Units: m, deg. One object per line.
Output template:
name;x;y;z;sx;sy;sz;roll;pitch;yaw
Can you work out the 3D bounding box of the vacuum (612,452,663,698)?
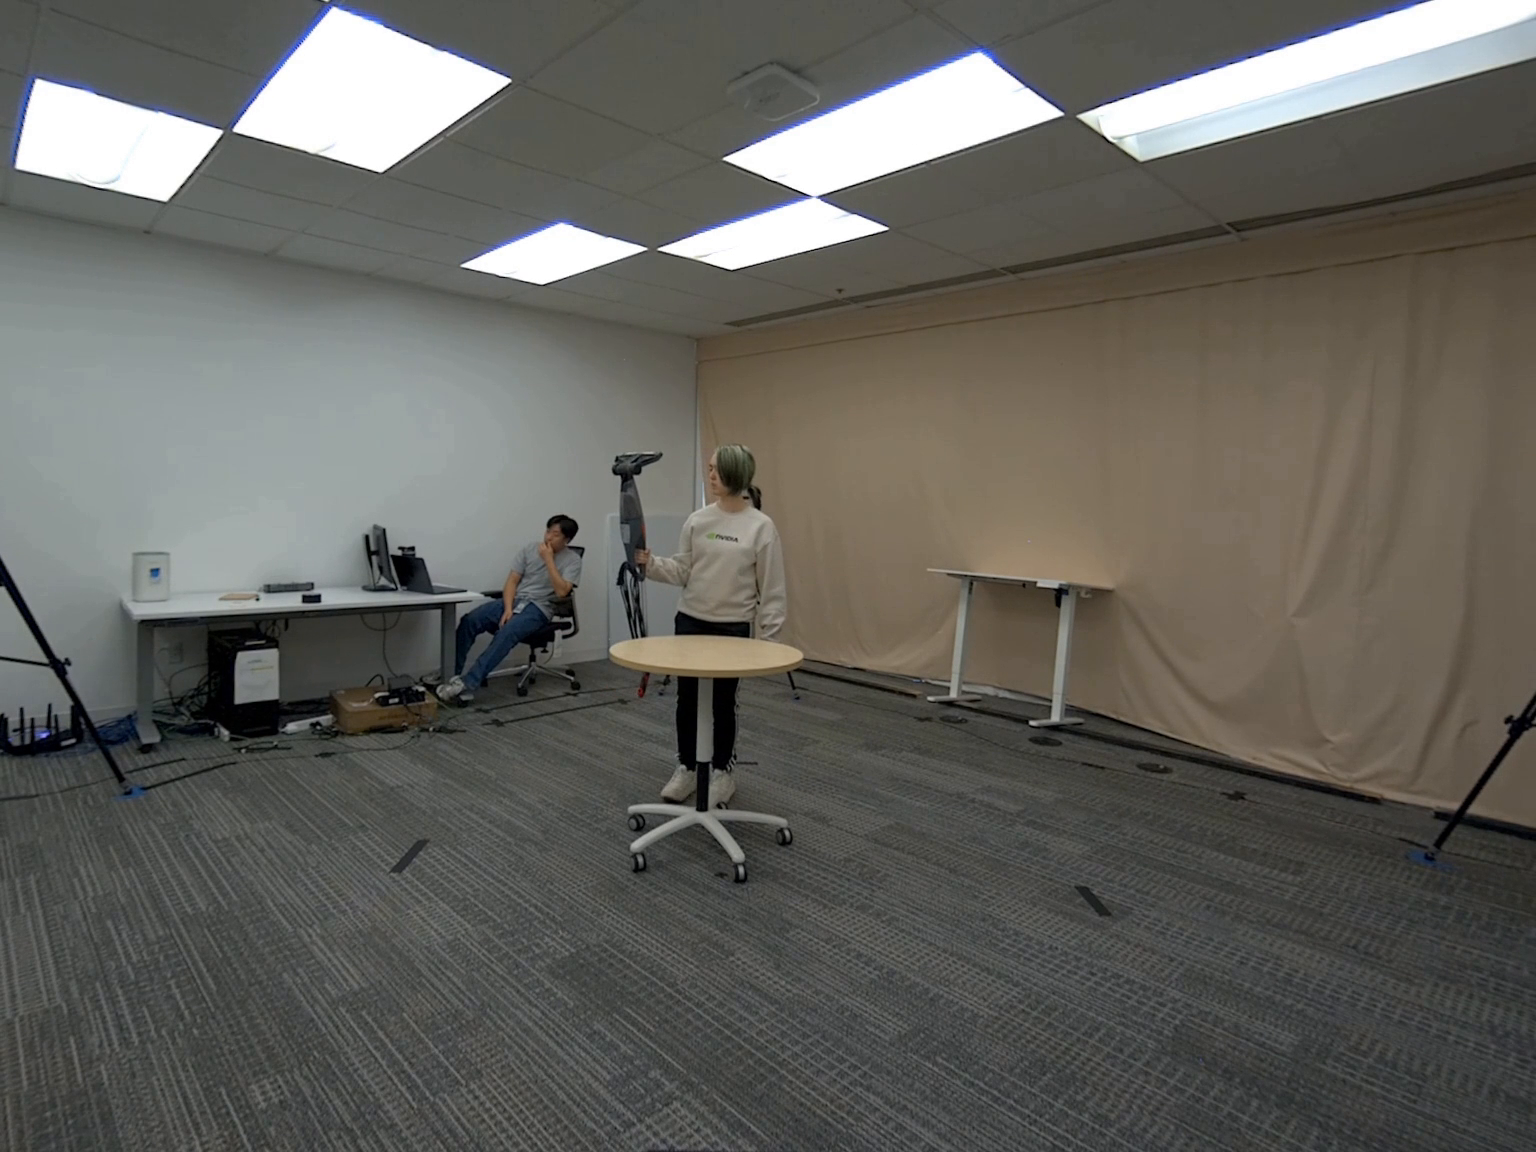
vacuum;-0.601;0.009;3.730;0.258;1.046;0.141;2;4;38
